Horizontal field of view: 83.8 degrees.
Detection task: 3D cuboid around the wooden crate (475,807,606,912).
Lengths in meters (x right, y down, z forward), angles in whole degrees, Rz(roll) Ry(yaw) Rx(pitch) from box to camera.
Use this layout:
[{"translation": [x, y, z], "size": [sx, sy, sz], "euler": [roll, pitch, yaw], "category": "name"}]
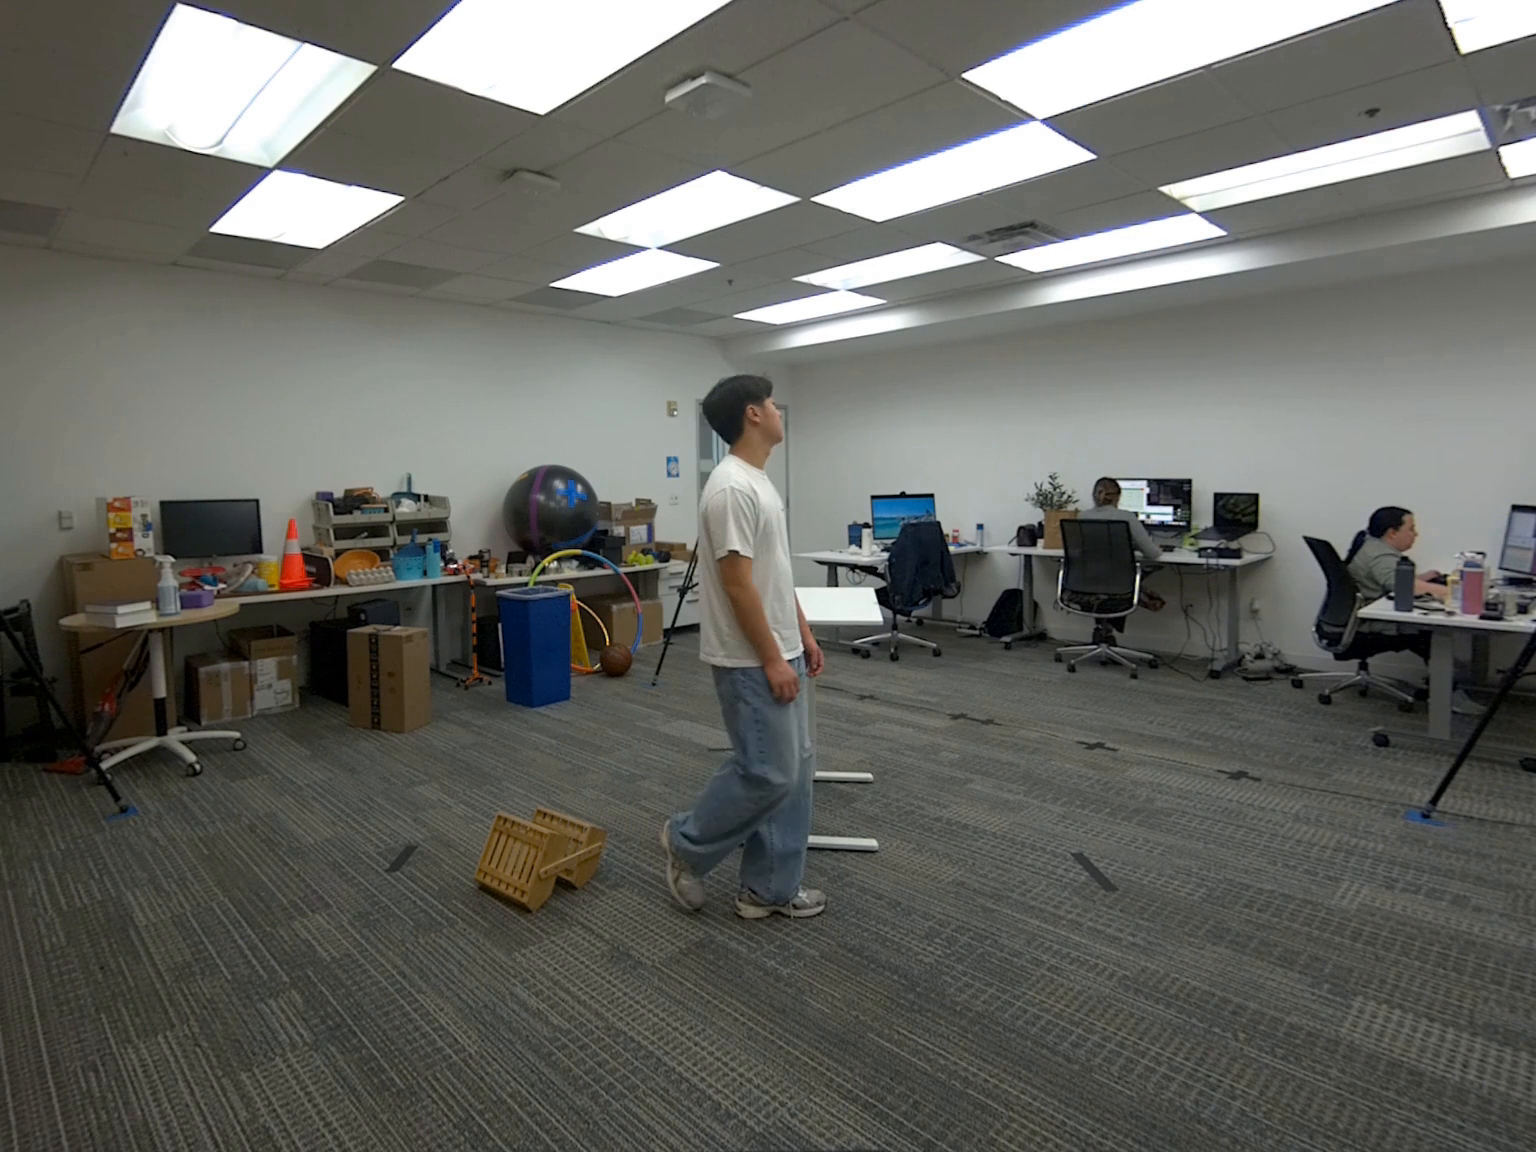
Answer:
[{"translation": [-0.790, 0.985, 2.990], "size": [0.334, 0.305, 0.263], "euler": [3, -21, 39], "category": "wooden crate"}]
